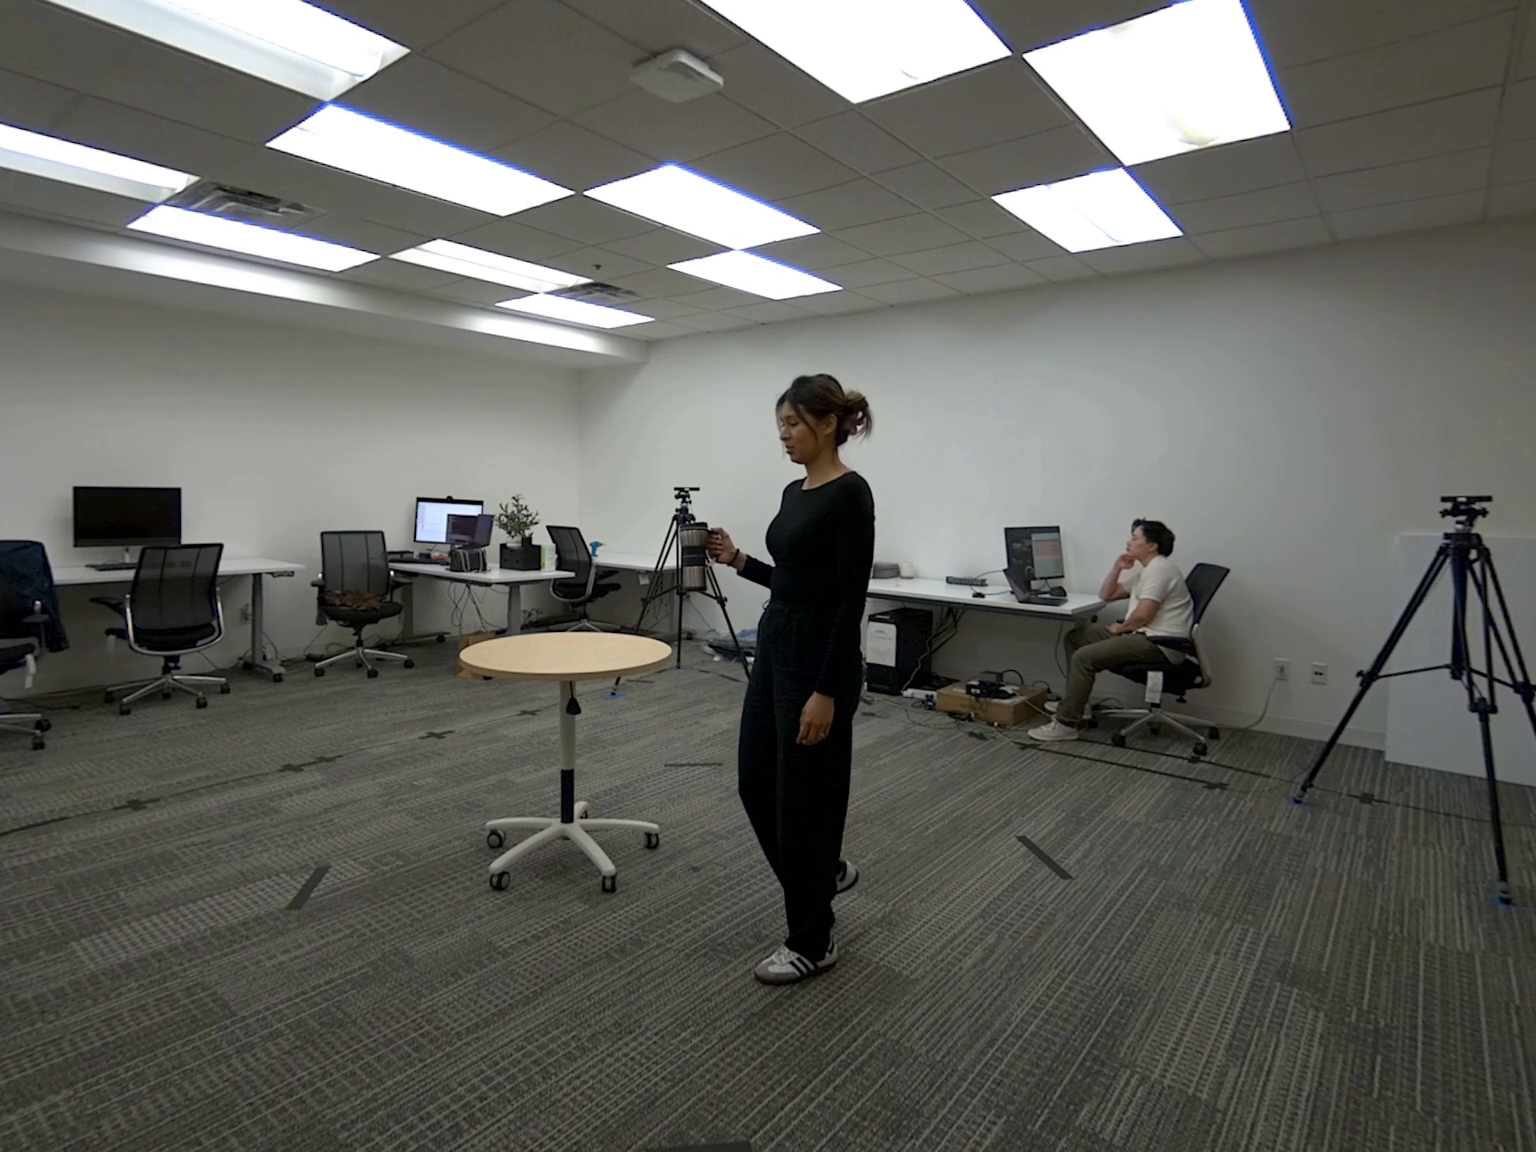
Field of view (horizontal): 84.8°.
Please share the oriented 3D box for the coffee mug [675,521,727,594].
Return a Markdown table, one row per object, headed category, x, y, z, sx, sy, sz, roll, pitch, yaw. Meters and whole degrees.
| category | x | y | z | sx | sy | sz | roll | pitch | yaw |
| --- | --- | --- | --- | --- | --- | --- | --- | --- | --- |
| coffee mug | -0.204 | -0.056 | 2.535 | 0.124 | 0.204 | 0.086 | -5 | -6 | 16 |
